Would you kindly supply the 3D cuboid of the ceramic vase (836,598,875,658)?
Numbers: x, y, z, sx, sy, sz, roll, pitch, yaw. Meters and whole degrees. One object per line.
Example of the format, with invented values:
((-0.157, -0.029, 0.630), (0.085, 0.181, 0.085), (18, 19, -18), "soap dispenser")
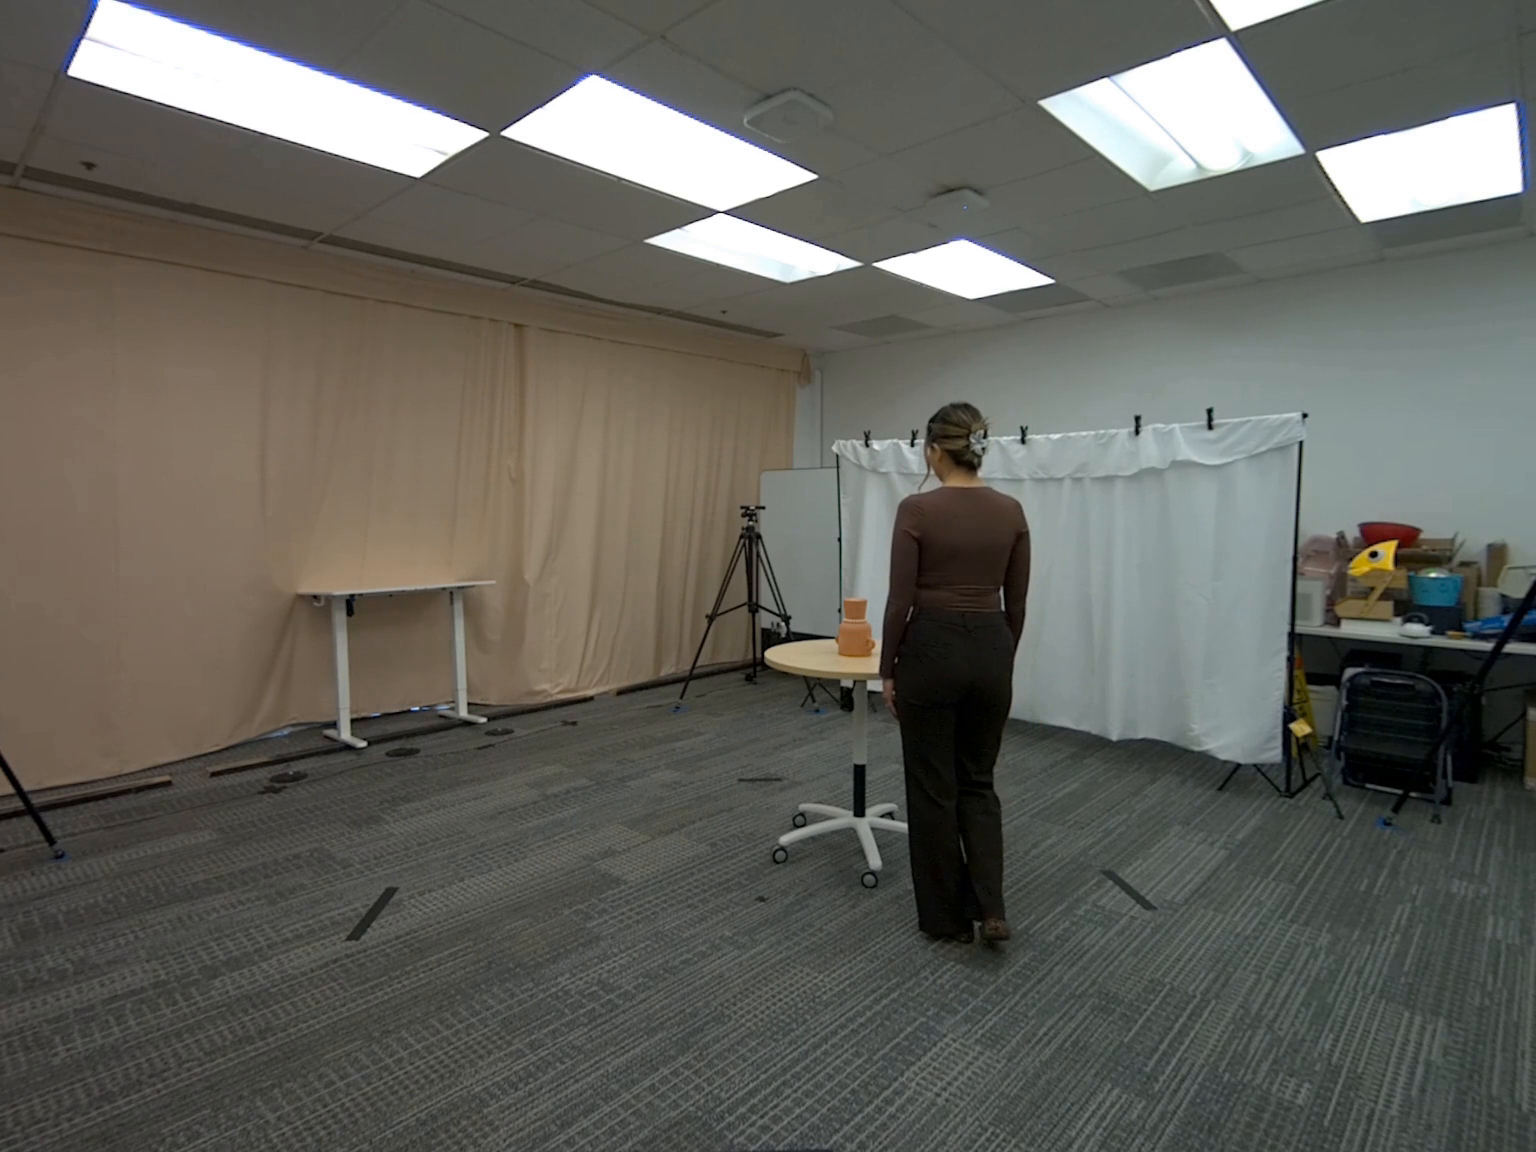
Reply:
((0.354, 0.204, 3.368), (0.160, 0.219, 0.133), (0, 1, 8), "ceramic vase")
